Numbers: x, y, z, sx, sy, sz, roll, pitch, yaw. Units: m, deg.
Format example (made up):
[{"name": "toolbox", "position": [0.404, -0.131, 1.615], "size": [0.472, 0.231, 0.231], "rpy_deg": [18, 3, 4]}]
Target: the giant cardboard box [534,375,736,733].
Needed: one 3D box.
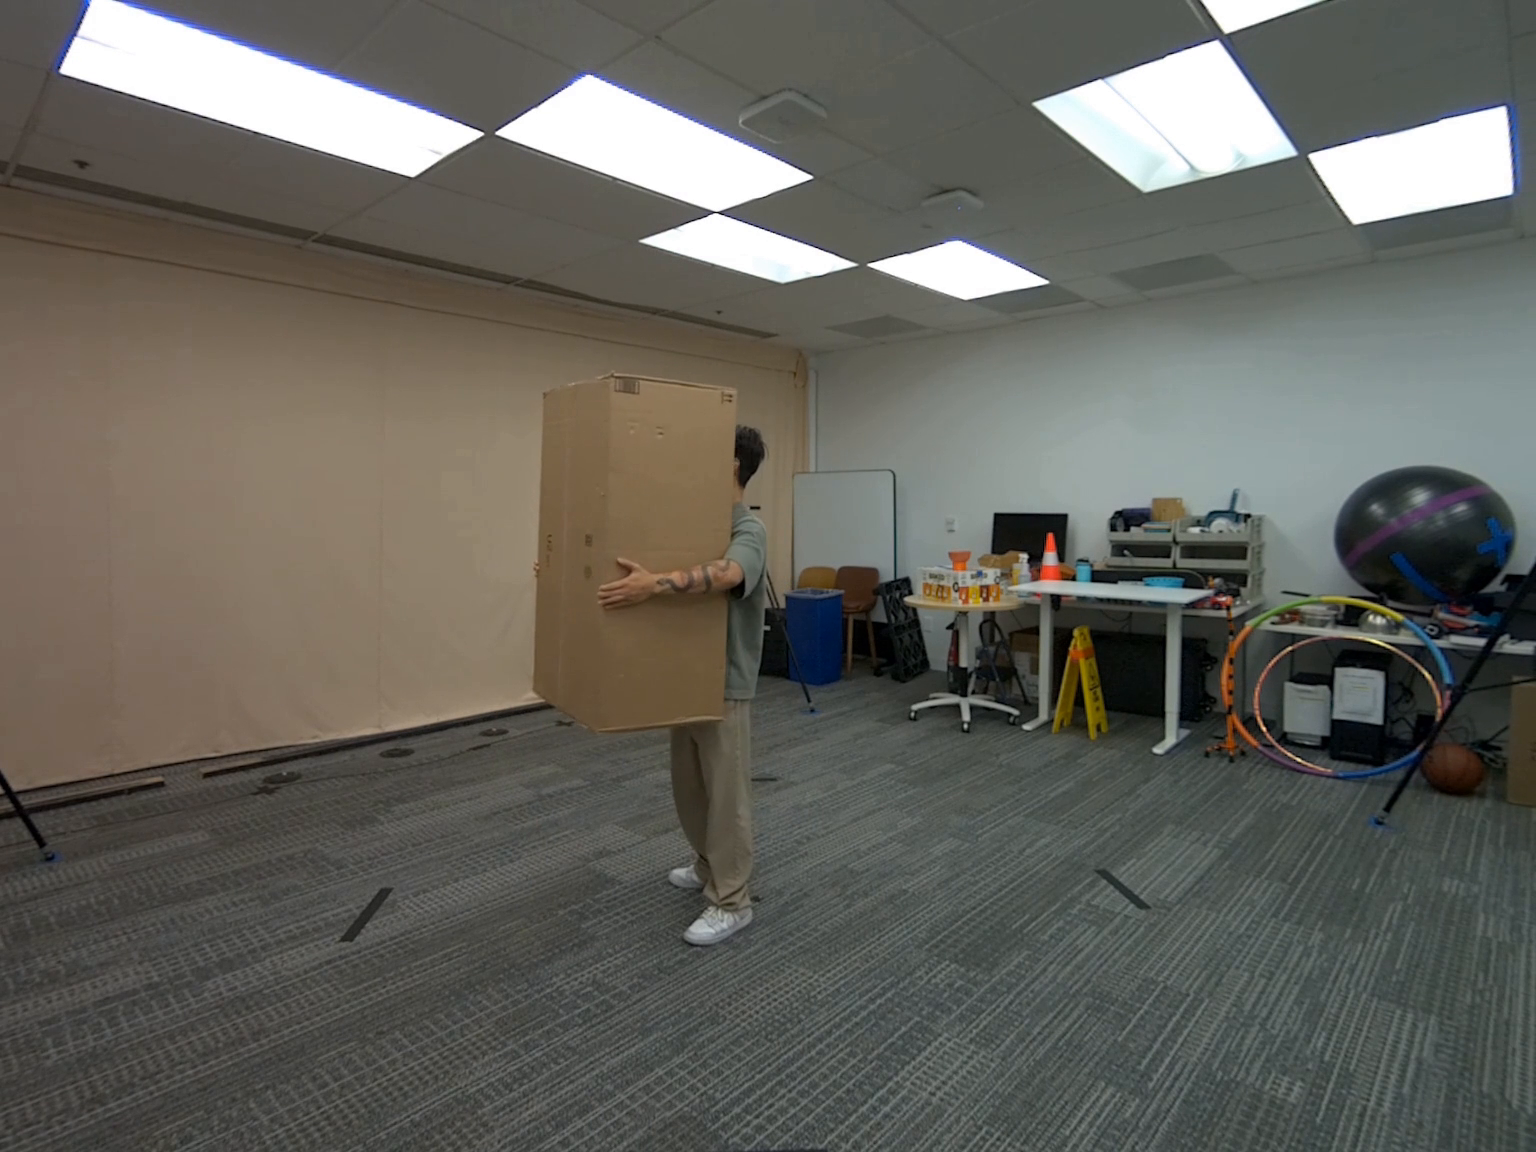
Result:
[{"name": "giant cardboard box", "position": [-0.446, -0.086, 2.717], "size": [0.414, 1.024, 0.595], "rpy_deg": [1, 3, -32]}]
